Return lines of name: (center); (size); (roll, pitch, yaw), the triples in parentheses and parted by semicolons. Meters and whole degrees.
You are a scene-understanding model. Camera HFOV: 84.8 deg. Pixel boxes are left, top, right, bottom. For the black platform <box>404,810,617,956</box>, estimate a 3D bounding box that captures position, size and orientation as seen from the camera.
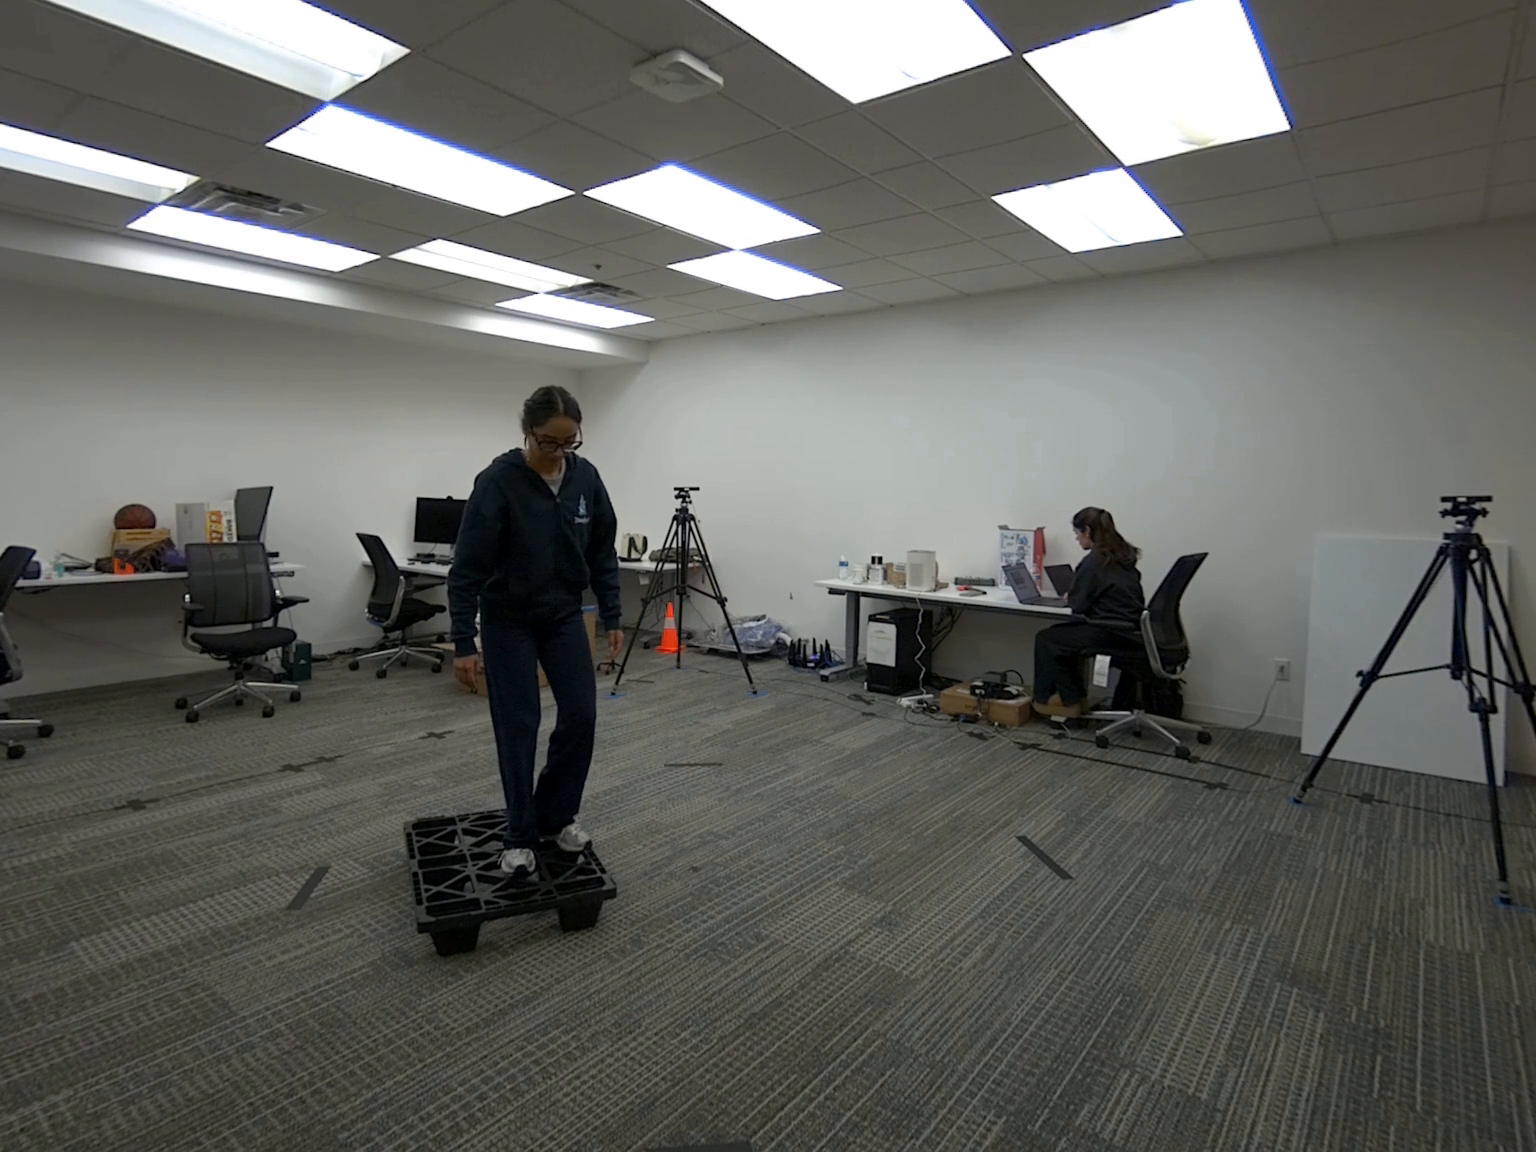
black platform: (-0.925, 1.006, 2.924); (0.591, 0.143, 0.828); (-2, 7, -25)
